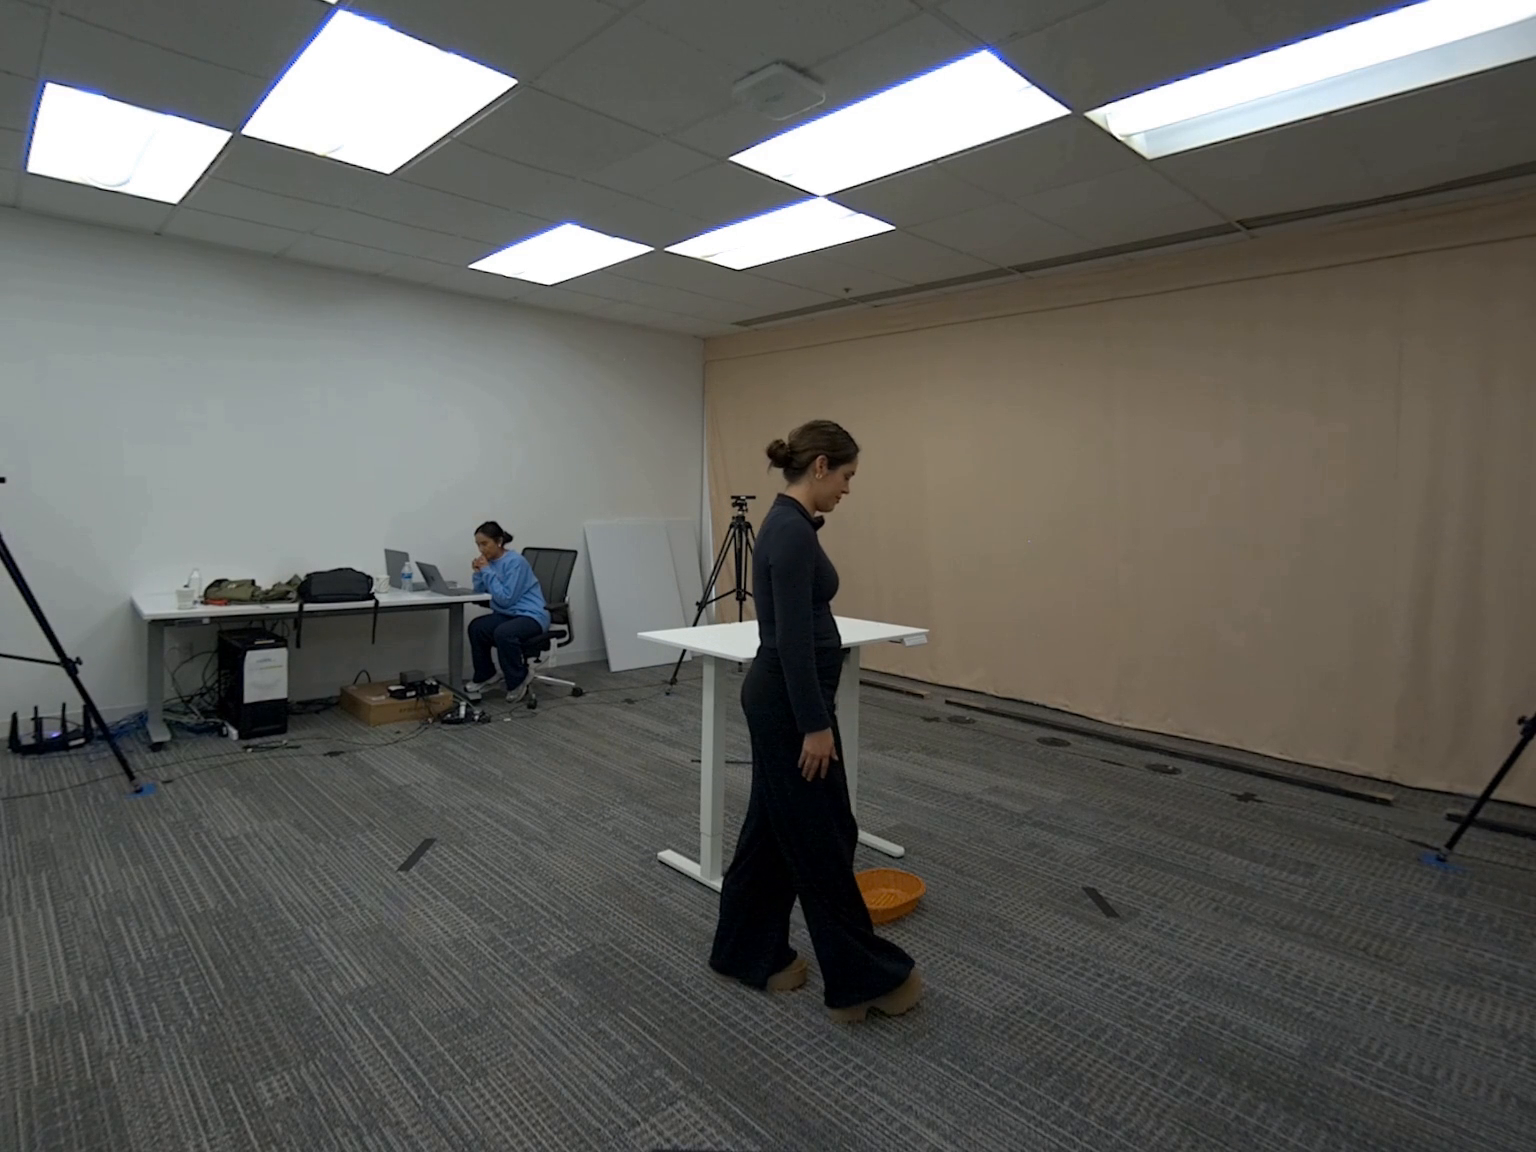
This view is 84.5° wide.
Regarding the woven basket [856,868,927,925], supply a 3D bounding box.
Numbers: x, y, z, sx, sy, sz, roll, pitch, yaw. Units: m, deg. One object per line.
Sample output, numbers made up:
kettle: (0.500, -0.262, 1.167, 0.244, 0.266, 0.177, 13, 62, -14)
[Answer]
woven basket: (0.372, 1.088, 2.876, 0.343, 0.073, 0.259, -2, 6, -36)
